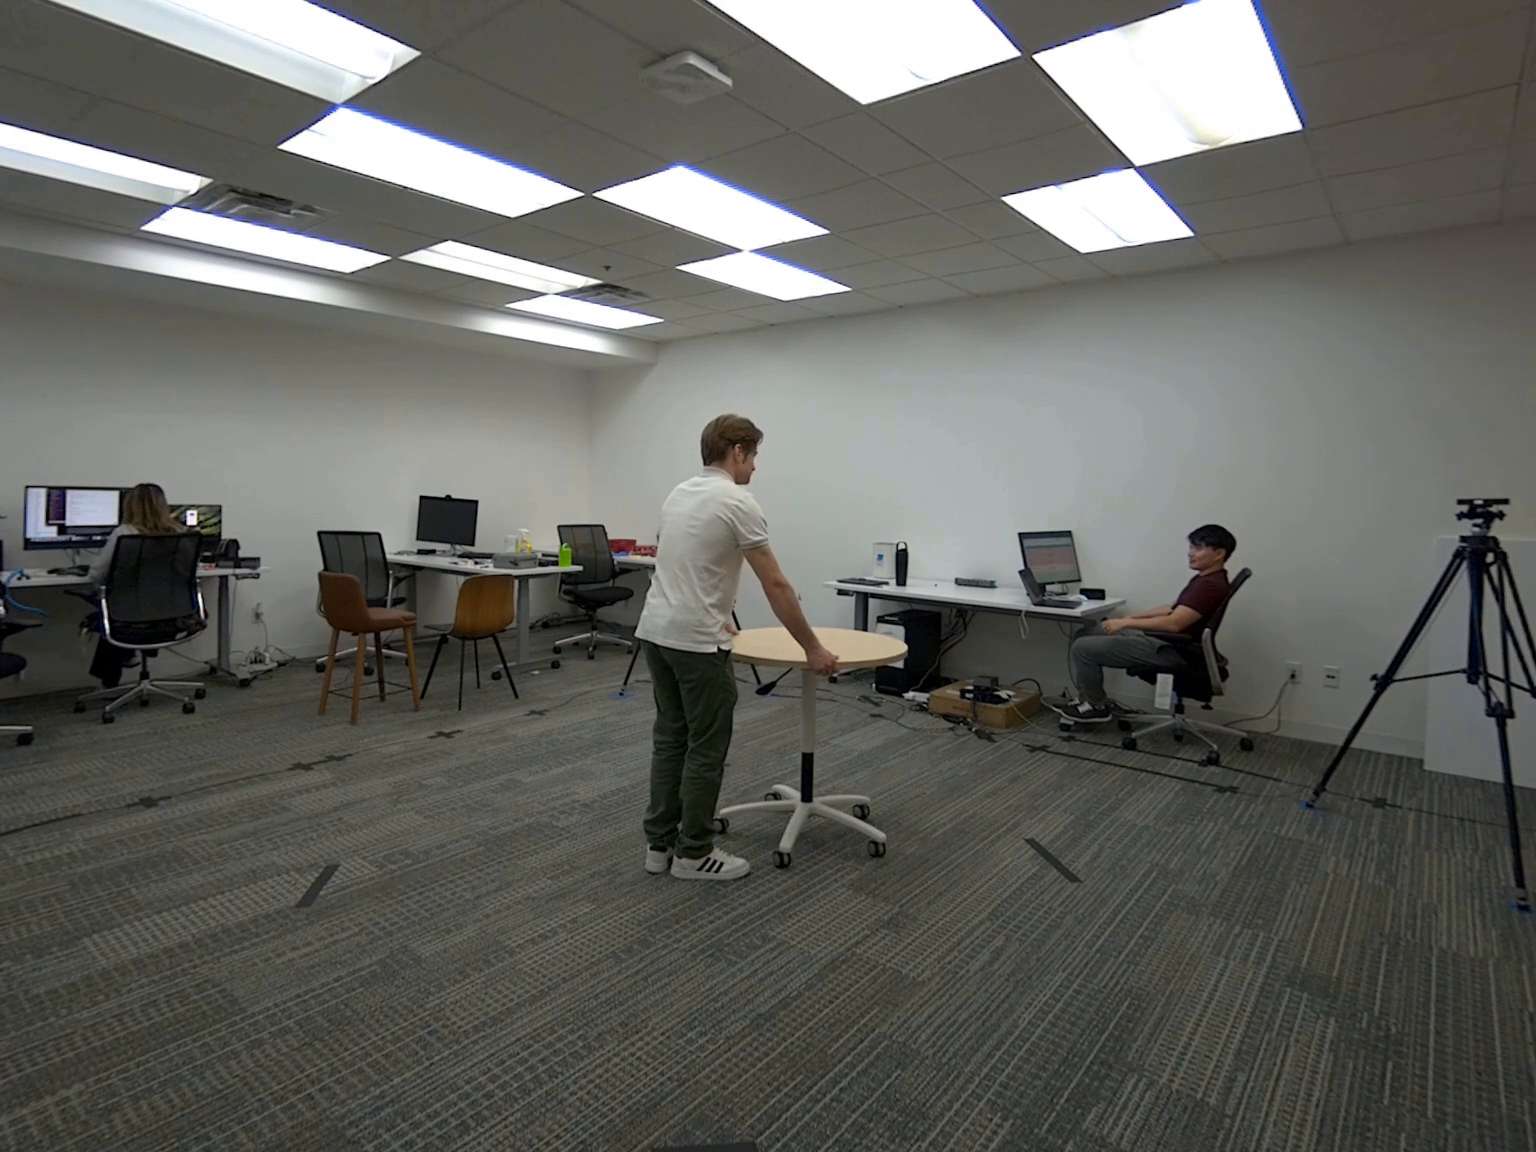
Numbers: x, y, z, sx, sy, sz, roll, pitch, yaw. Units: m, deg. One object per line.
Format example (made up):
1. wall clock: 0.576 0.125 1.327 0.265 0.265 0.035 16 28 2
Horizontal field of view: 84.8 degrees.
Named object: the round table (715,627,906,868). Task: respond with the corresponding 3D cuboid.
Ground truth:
1. round table: 0.154 0.657 3.424 0.763 0.791 0.768 1 4 -2
